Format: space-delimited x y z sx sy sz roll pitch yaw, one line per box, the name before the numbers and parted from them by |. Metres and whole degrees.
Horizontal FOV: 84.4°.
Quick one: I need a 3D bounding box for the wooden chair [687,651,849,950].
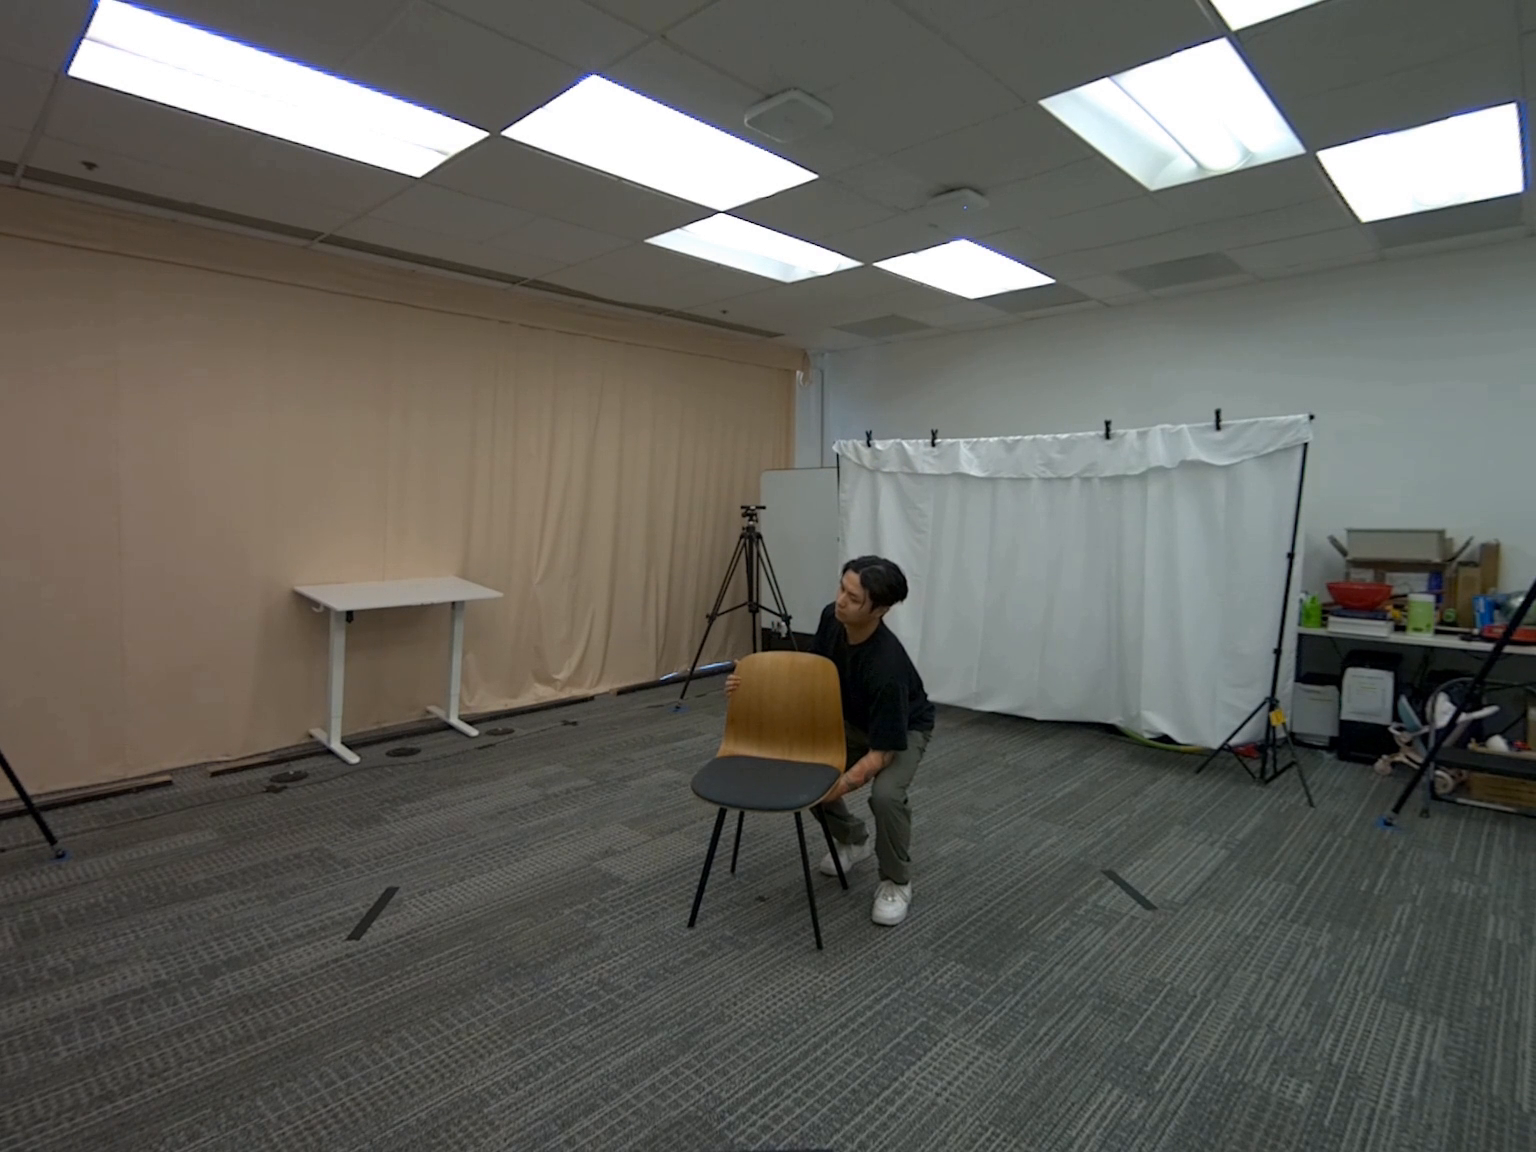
wooden chair | 0.009 0.724 2.878 0.487 0.878 0.513 1 -1 18
